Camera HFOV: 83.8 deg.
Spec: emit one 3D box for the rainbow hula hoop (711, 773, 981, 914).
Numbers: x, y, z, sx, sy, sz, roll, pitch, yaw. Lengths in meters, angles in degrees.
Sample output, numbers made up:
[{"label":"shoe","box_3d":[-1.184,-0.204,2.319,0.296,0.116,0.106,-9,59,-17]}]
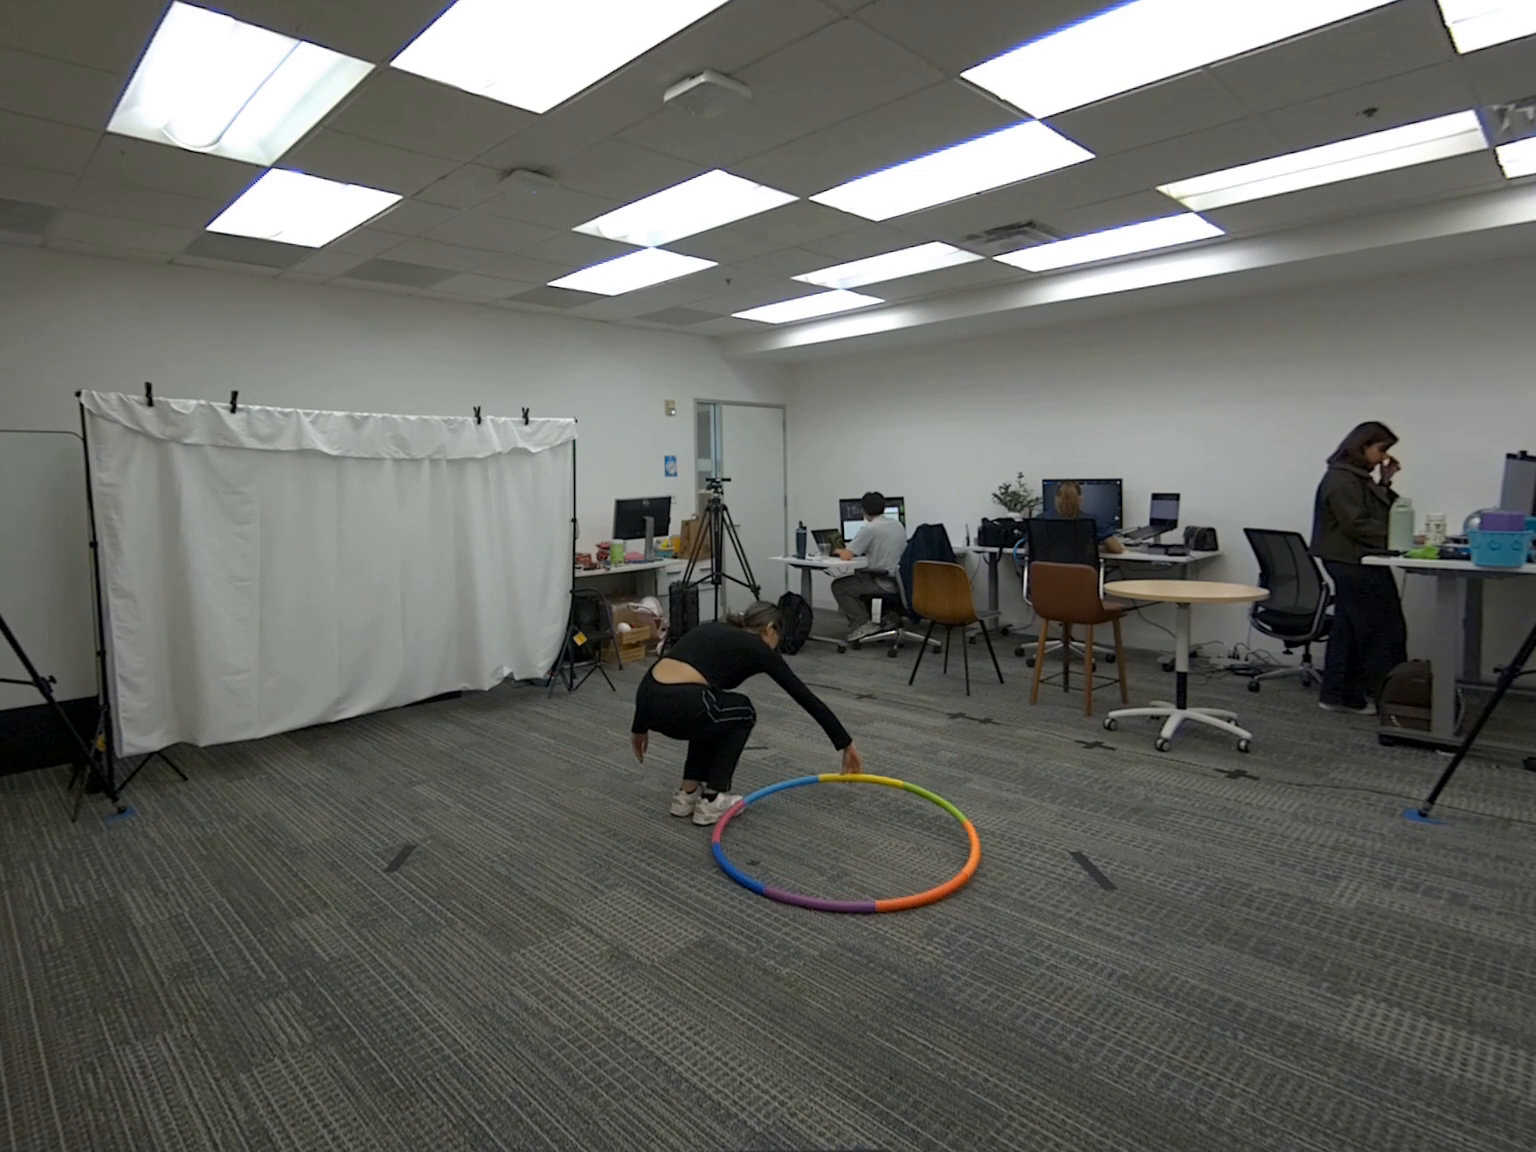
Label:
[{"label":"rainbow hula hoop","box_3d":[0.273,0.957,3.207,0.978,0.035,0.988,-3,11,-1]}]
